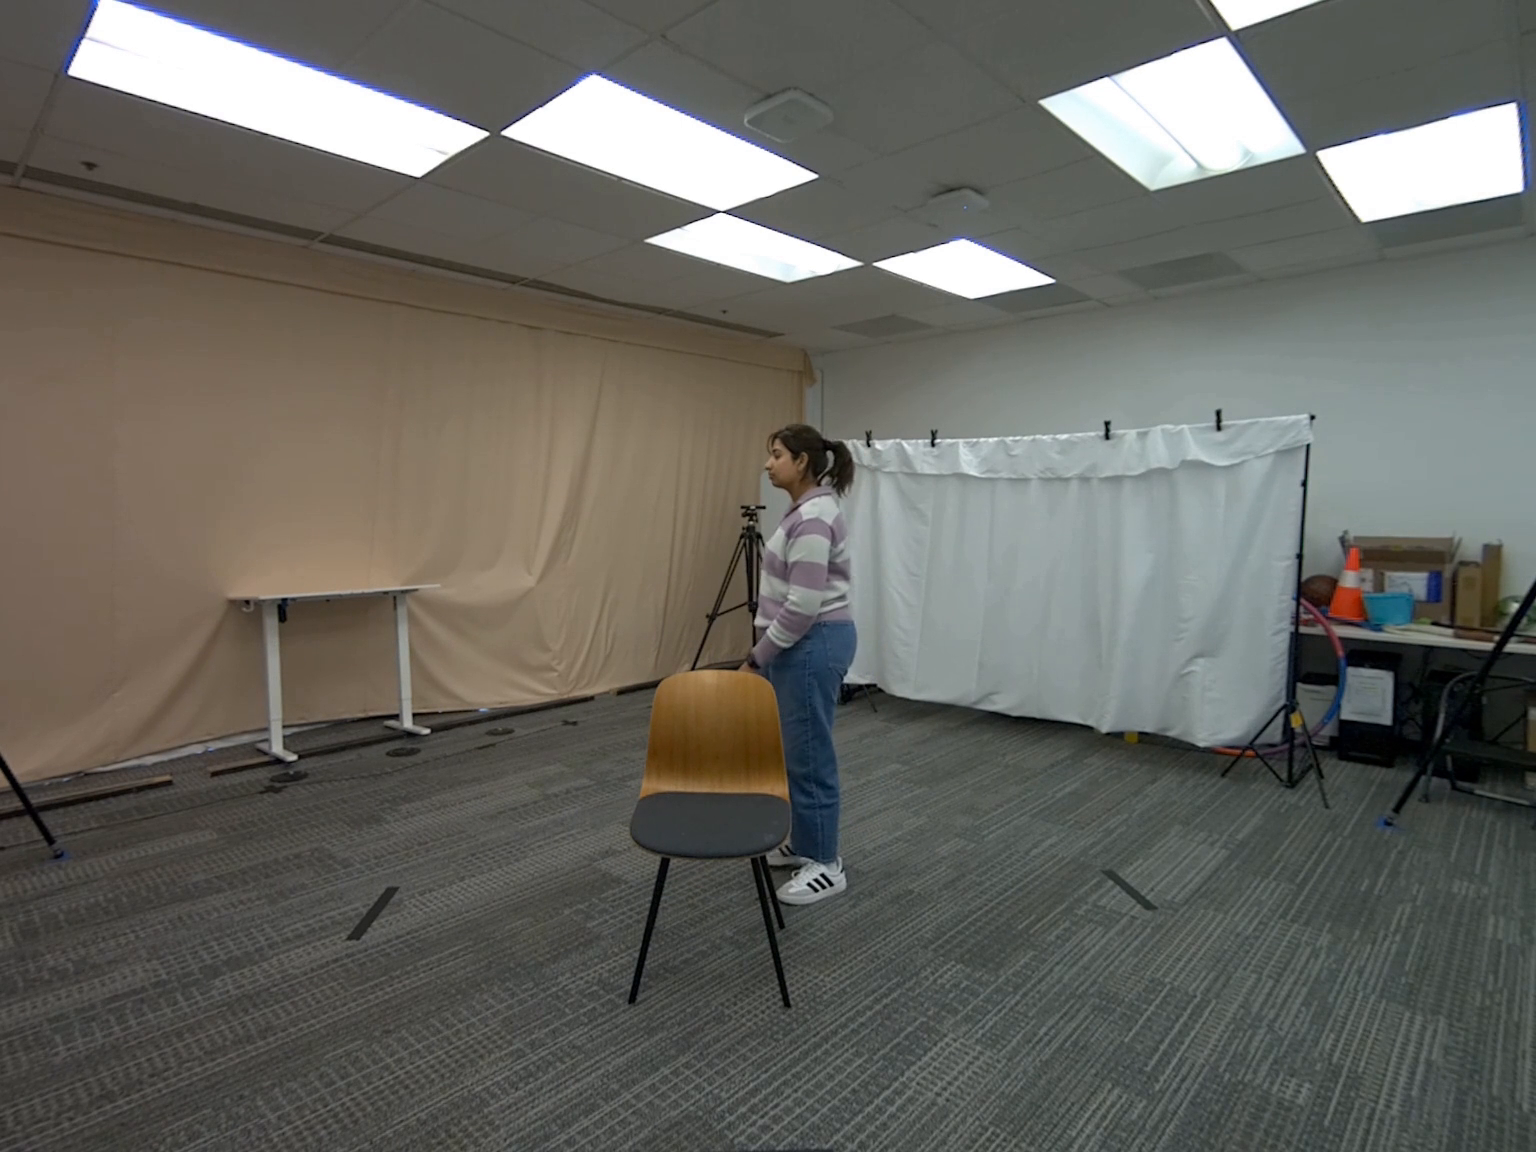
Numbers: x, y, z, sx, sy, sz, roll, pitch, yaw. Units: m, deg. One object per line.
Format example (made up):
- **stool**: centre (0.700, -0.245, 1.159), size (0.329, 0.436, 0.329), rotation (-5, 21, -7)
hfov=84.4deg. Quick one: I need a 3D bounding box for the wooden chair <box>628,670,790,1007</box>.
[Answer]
- **wooden chair**: centre (-0.157, 0.756, 2.535), size (0.479, 0.877, 0.523), rotation (1, 0, 0)
